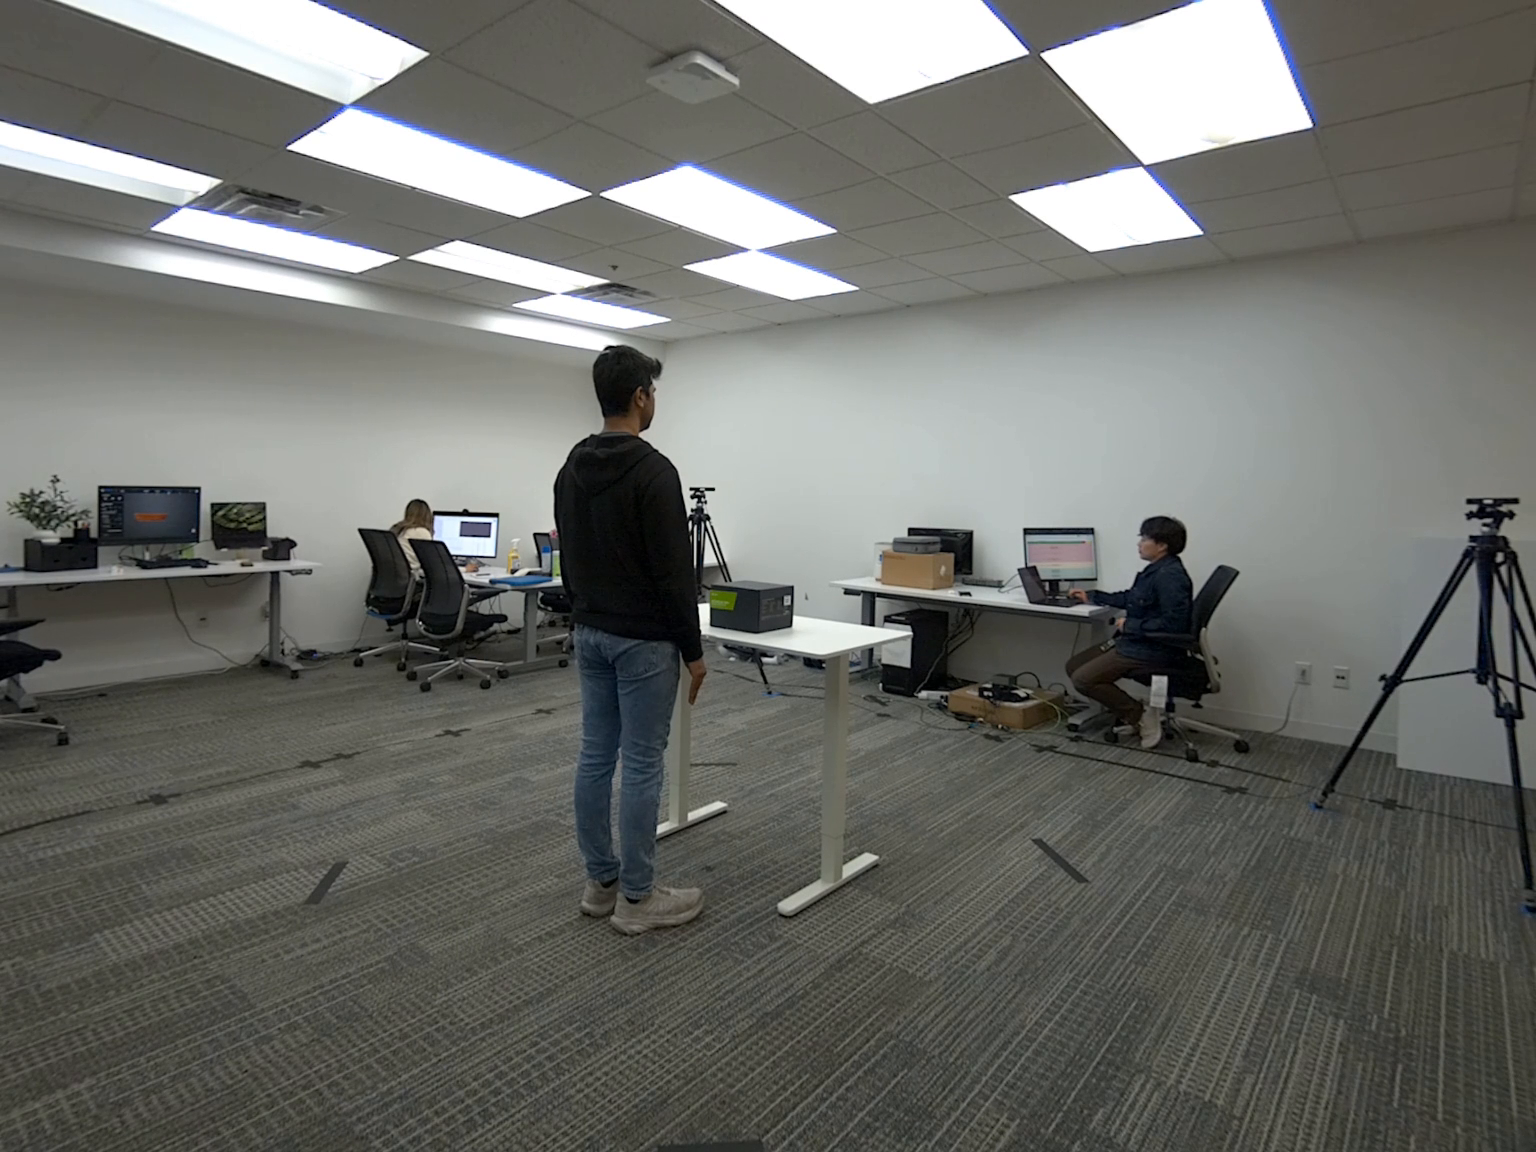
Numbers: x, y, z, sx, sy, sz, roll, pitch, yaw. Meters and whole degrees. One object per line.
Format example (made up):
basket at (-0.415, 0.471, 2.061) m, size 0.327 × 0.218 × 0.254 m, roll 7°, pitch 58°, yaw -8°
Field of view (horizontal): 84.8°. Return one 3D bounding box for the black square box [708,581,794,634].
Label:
black square box at (-0.070, 0.106, 3.127) m, size 0.235 × 0.155 × 0.211 m, roll 5°, pitch 7°, yaw 37°
